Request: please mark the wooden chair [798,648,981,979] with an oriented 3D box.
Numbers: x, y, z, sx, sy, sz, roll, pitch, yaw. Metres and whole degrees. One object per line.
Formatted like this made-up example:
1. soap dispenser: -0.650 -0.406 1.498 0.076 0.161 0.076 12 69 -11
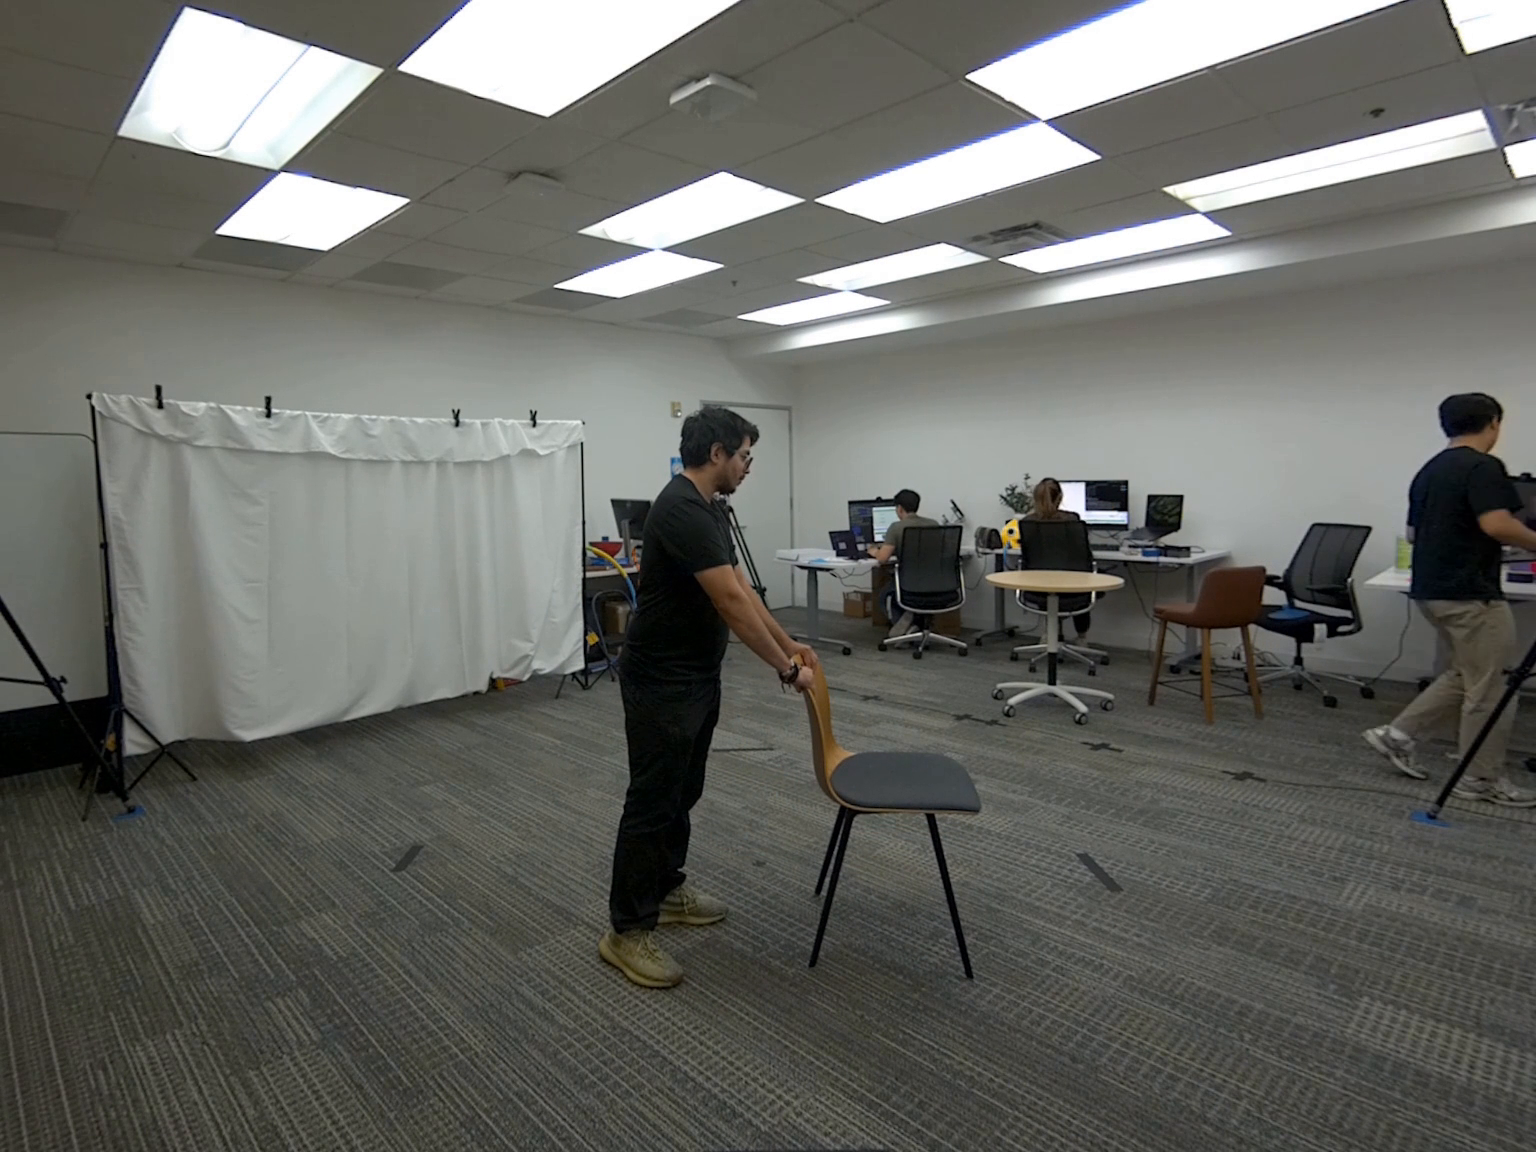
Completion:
1. wooden chair: 0.367 0.666 2.605 0.527 0.875 0.476 -5 3 7
